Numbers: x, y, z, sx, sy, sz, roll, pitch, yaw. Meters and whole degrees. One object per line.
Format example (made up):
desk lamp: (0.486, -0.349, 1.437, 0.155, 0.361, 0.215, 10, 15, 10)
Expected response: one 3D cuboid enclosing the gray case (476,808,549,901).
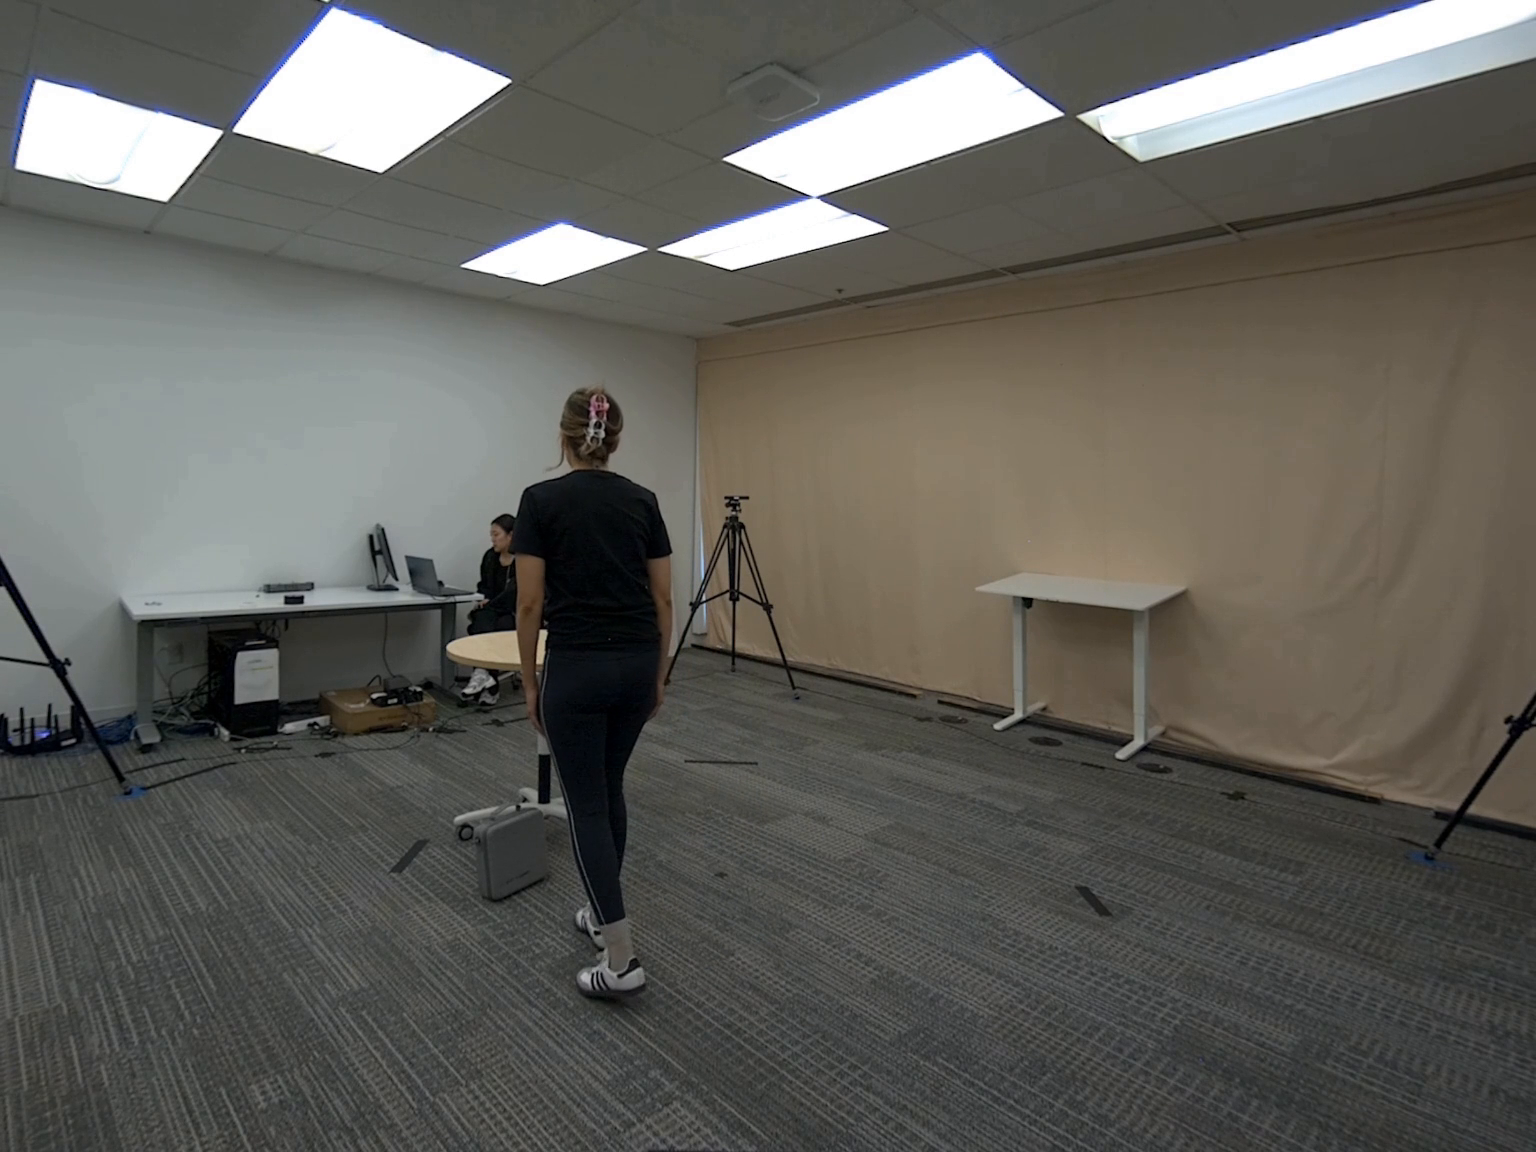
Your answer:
gray case: (-0.910, 0.967, 2.959, 0.106, 0.261, 0.251, -4, 0, 35)
